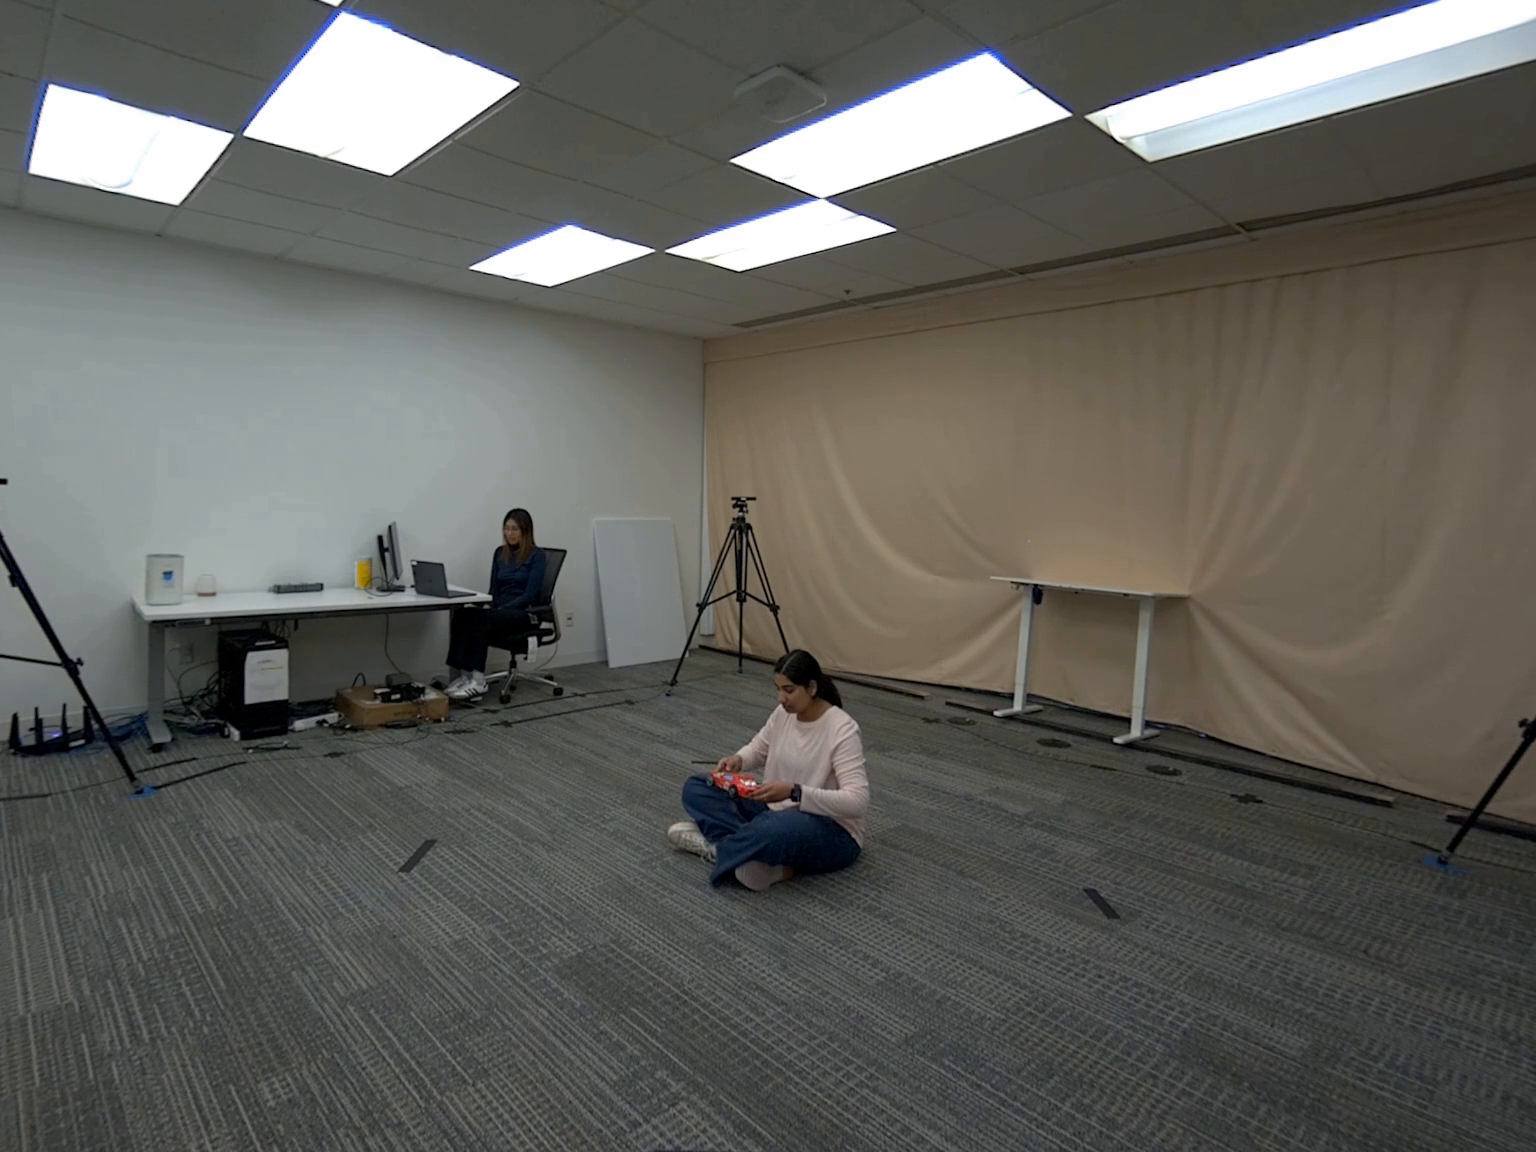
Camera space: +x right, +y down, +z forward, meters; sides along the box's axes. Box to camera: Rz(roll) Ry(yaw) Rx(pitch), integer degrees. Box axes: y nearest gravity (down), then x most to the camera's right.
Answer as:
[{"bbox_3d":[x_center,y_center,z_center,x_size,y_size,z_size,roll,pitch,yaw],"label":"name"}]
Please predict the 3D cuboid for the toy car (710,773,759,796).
[{"bbox_3d":[-0.126,0.786,3.156,0.127,0.084,0.259,16,-15,-38],"label":"toy car"}]
